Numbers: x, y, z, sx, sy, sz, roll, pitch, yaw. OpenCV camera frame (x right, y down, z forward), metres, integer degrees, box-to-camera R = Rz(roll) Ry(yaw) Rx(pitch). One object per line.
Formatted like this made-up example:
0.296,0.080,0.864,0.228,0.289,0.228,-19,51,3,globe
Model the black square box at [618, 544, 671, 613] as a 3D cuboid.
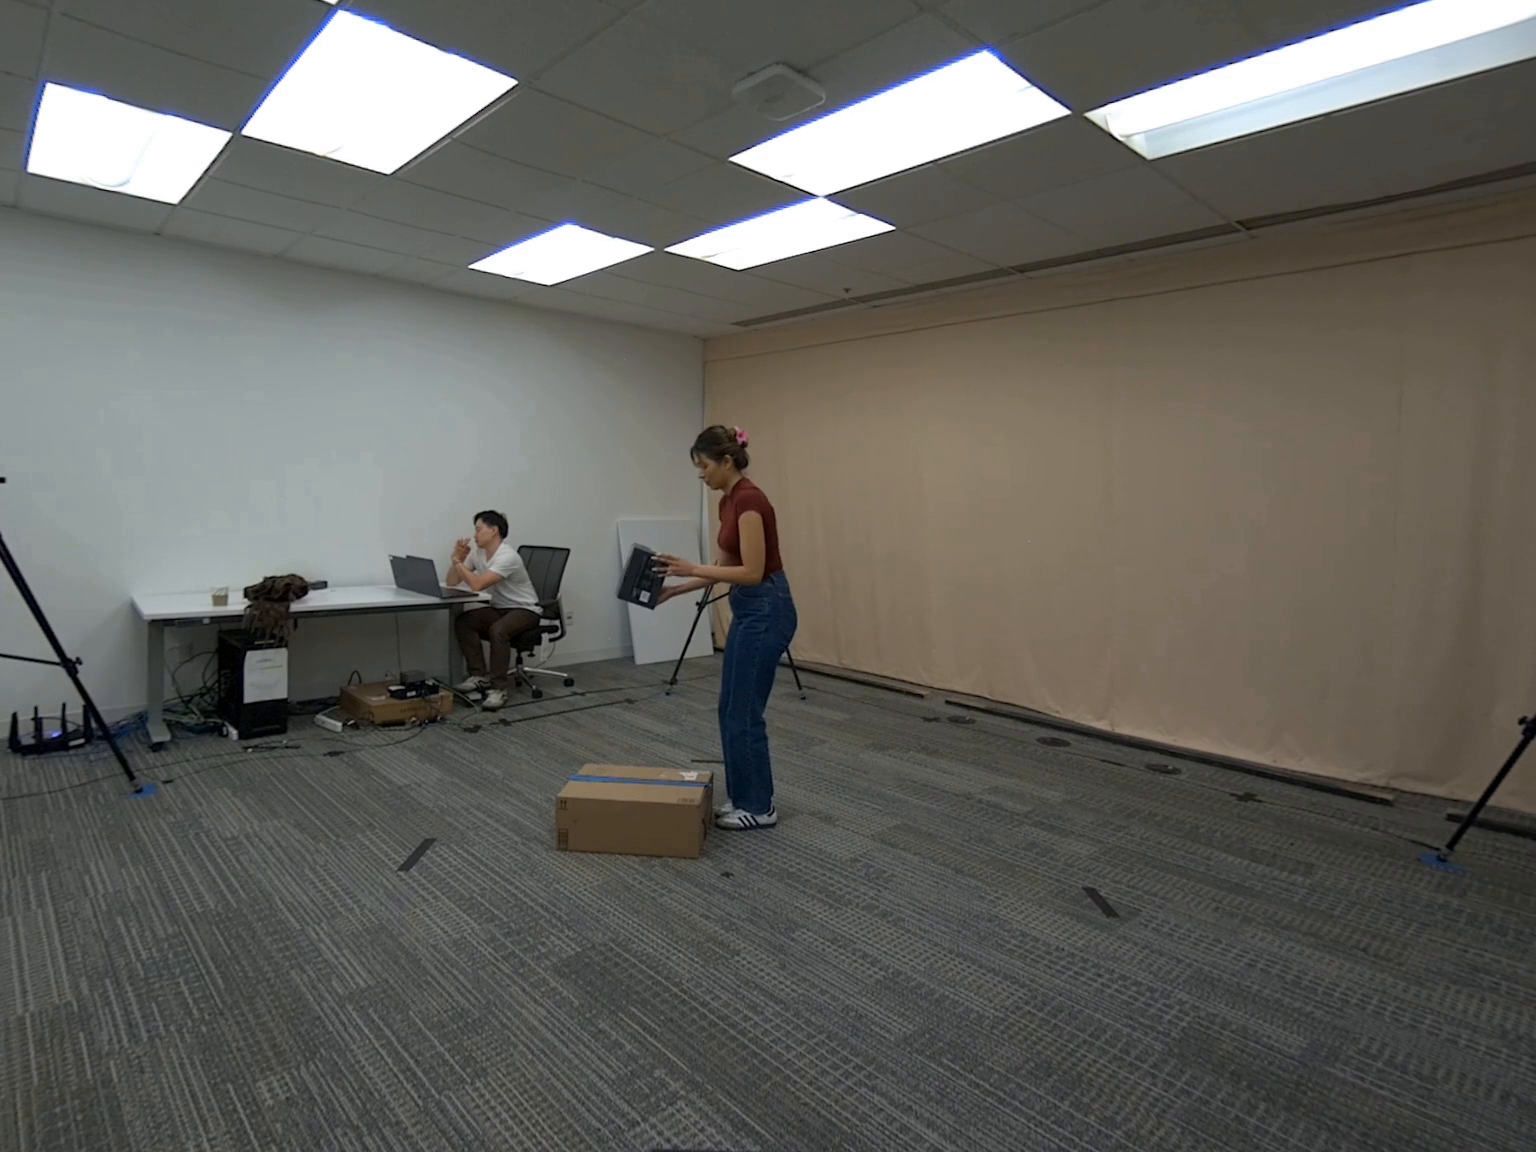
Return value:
-0.501,0.005,3.447,0.155,0.216,0.230,15,5,-8,black square box
